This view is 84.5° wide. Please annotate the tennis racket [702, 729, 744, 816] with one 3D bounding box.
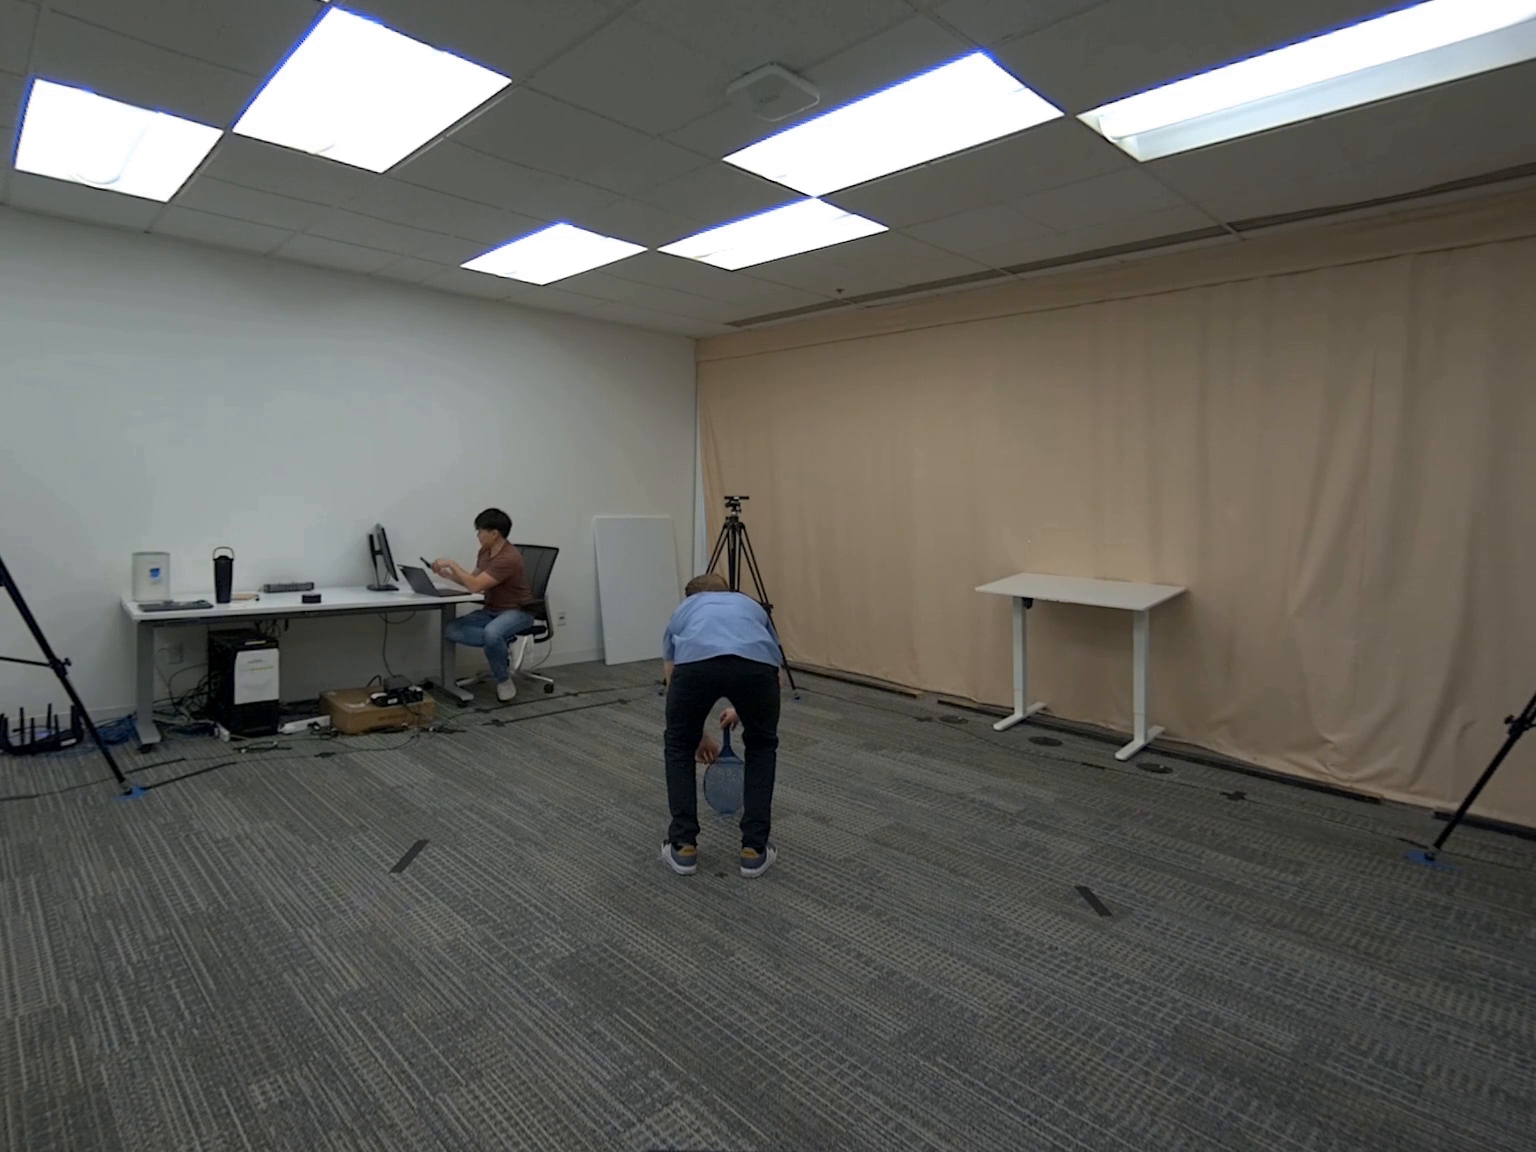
[{"bbox_3d":[-0.194,0.836,3.705,0.213,0.432,0.032,-3,3,-1],"label":"tennis racket"}]
